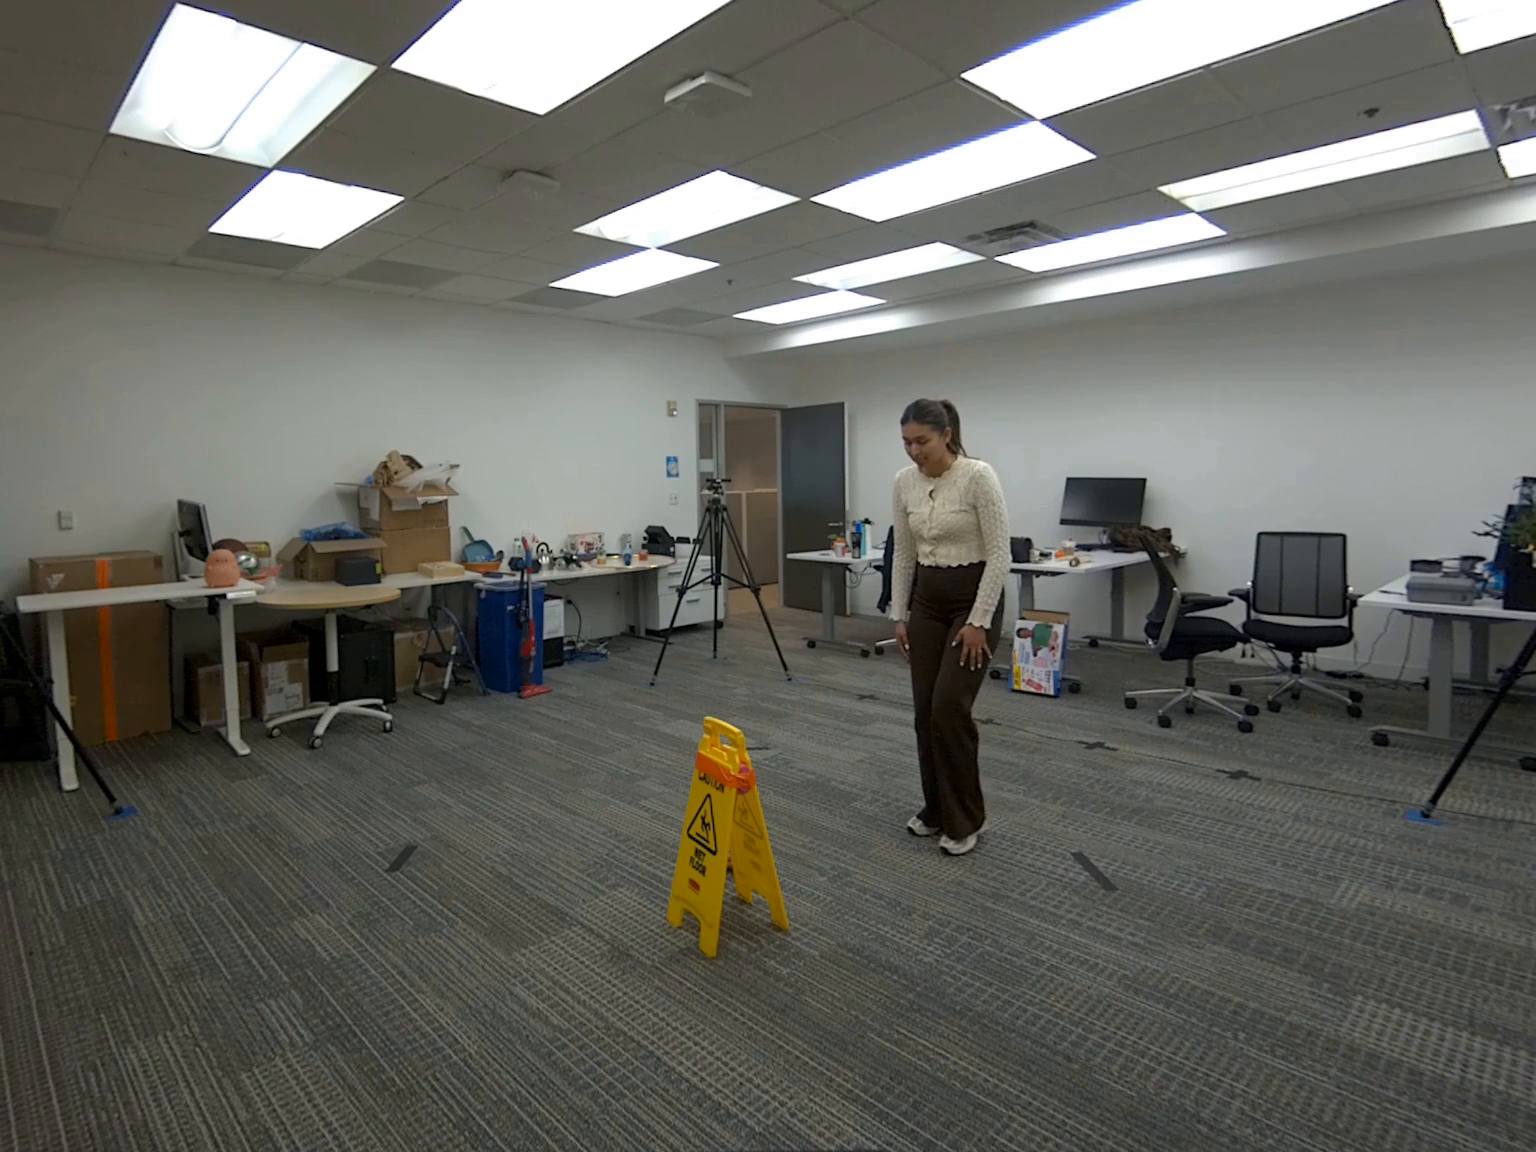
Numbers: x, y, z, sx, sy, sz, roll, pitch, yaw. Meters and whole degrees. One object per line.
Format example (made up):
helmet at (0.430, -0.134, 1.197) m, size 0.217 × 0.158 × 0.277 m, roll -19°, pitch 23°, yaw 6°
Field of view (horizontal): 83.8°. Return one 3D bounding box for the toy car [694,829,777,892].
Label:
toy car at (-0.120, 1.017, 3.081) m, size 0.261 × 0.082 × 0.128 m, roll 14°, pitch 12°, yaw 25°
